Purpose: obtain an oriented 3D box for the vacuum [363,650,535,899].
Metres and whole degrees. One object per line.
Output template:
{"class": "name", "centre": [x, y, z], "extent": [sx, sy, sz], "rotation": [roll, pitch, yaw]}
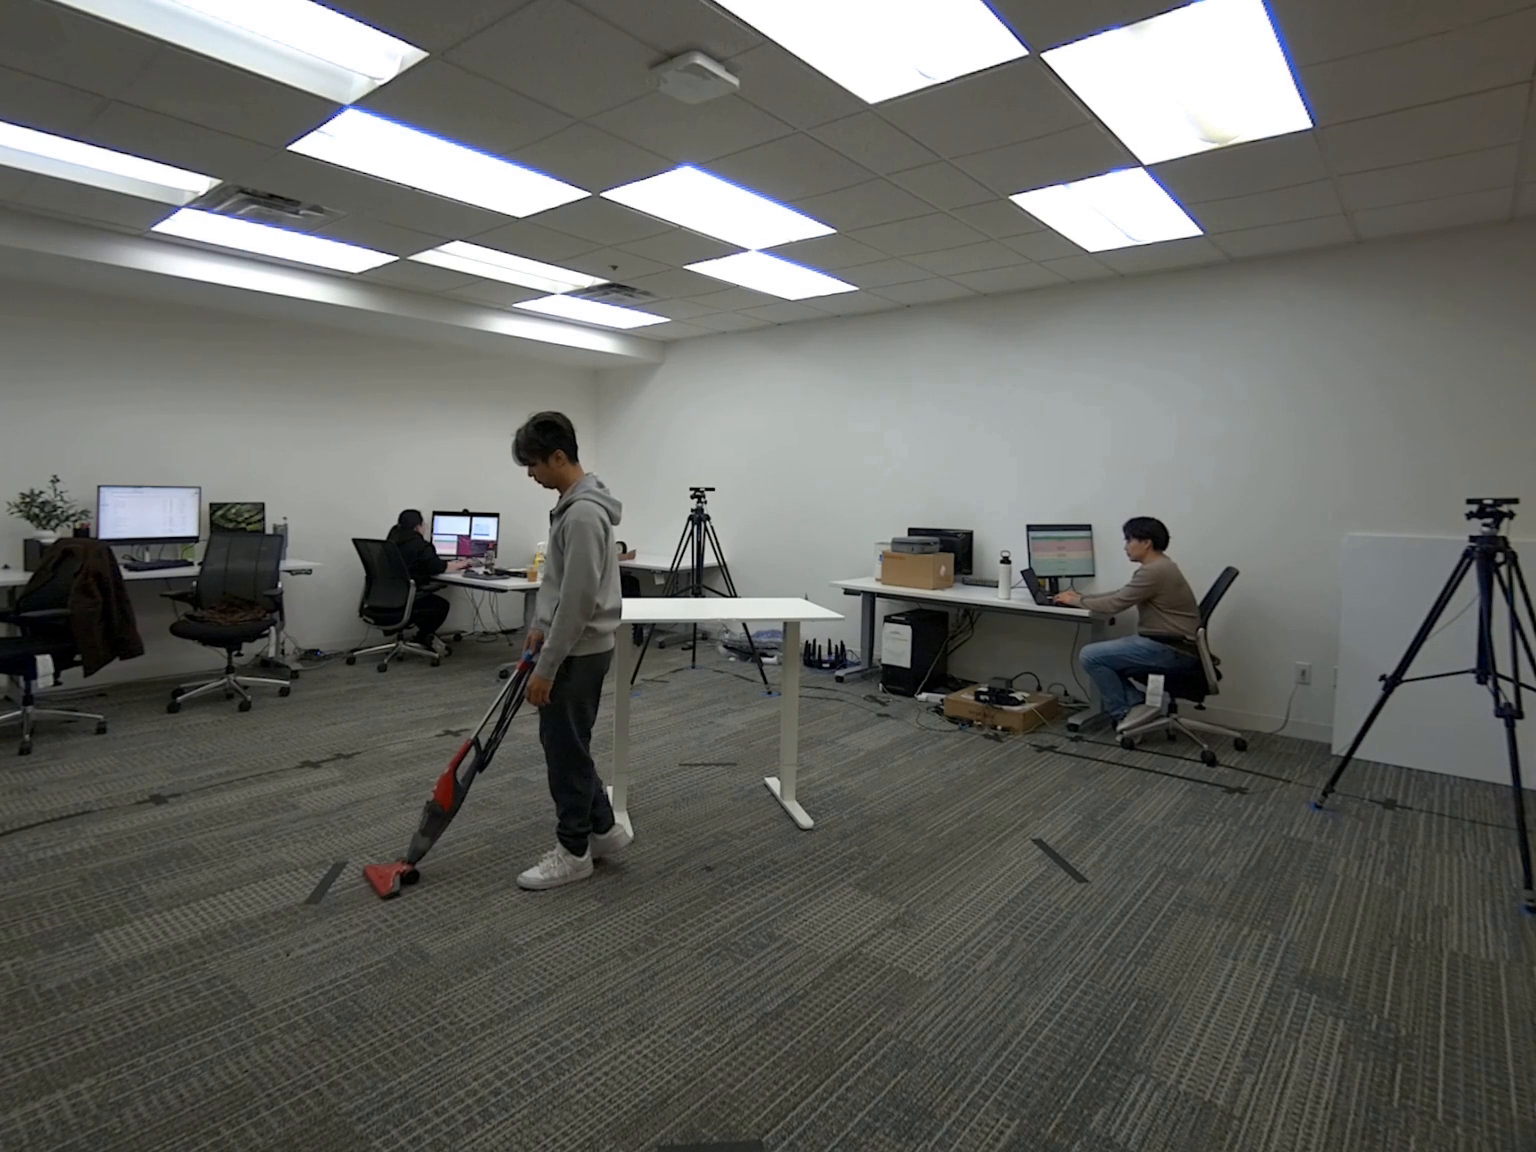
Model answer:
{"class": "vacuum", "centre": [-1.081, 0.625, 3.148], "extent": [0.261, 1.055, 0.138], "rotation": [5, -31, 48]}
